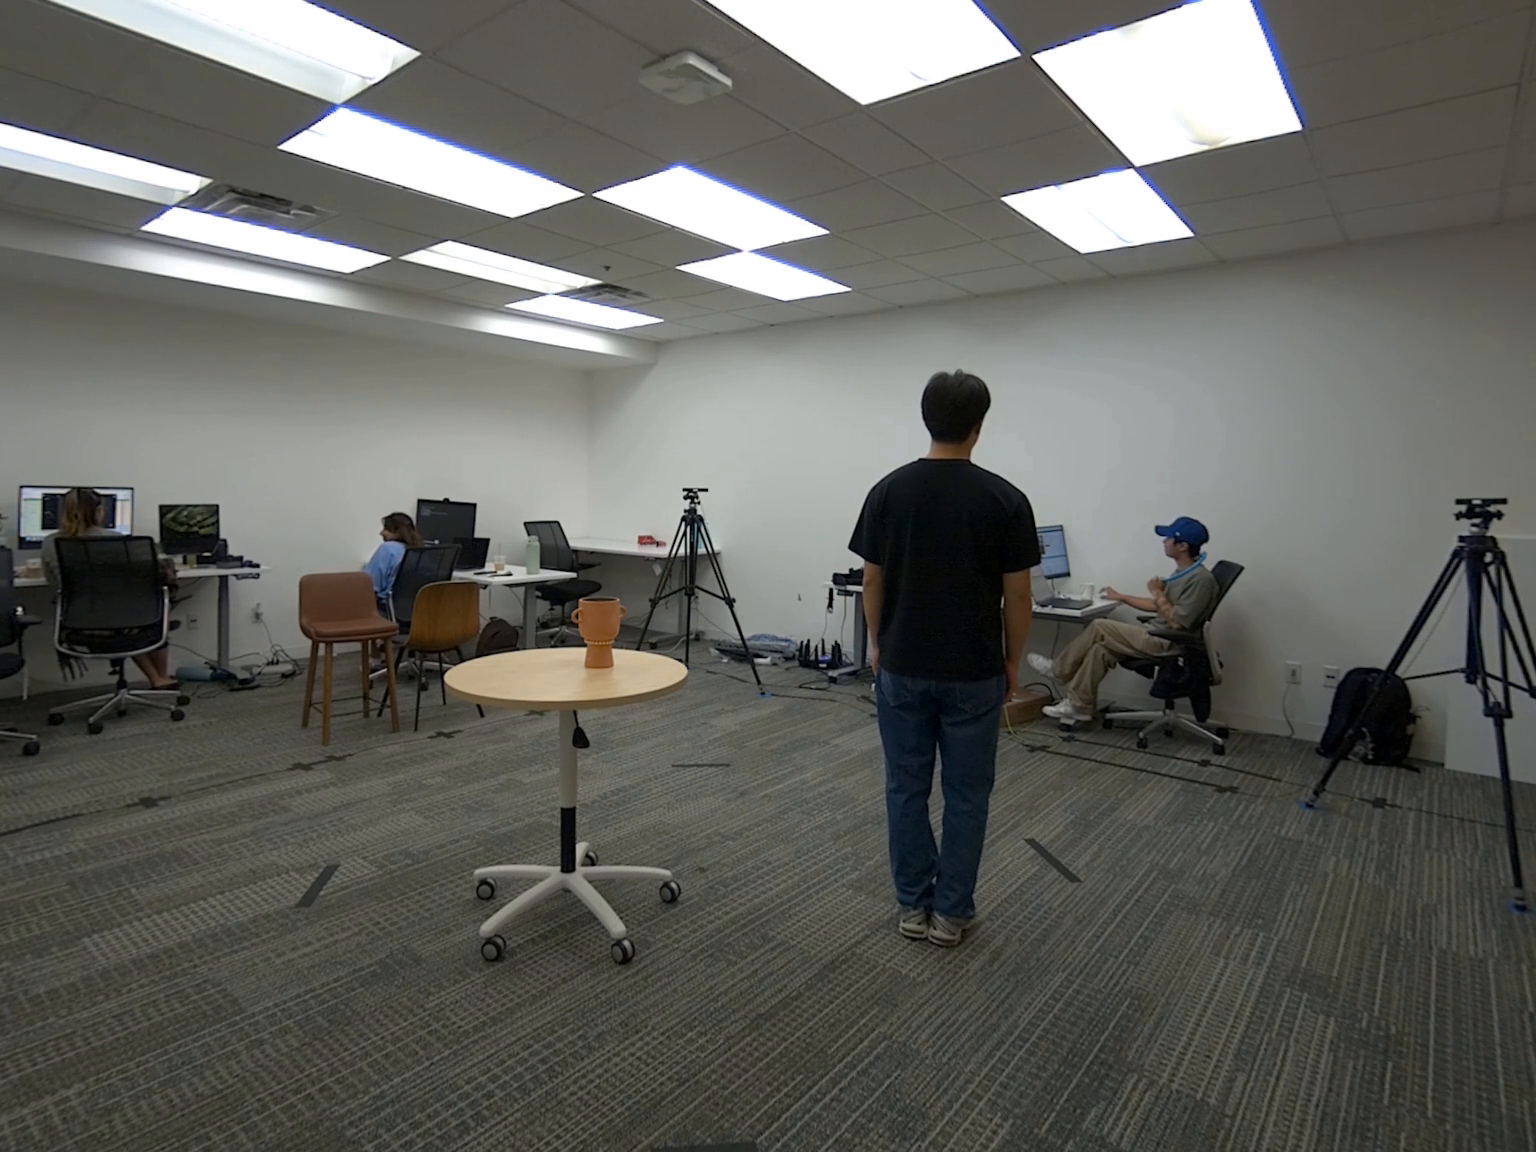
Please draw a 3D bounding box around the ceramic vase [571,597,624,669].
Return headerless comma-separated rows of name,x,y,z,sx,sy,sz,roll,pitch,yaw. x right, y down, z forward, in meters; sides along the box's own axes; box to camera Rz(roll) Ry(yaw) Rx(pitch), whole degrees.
ceramic vase,-0.574,0.189,2.809,0.159,0.219,0.135,1,5,3
